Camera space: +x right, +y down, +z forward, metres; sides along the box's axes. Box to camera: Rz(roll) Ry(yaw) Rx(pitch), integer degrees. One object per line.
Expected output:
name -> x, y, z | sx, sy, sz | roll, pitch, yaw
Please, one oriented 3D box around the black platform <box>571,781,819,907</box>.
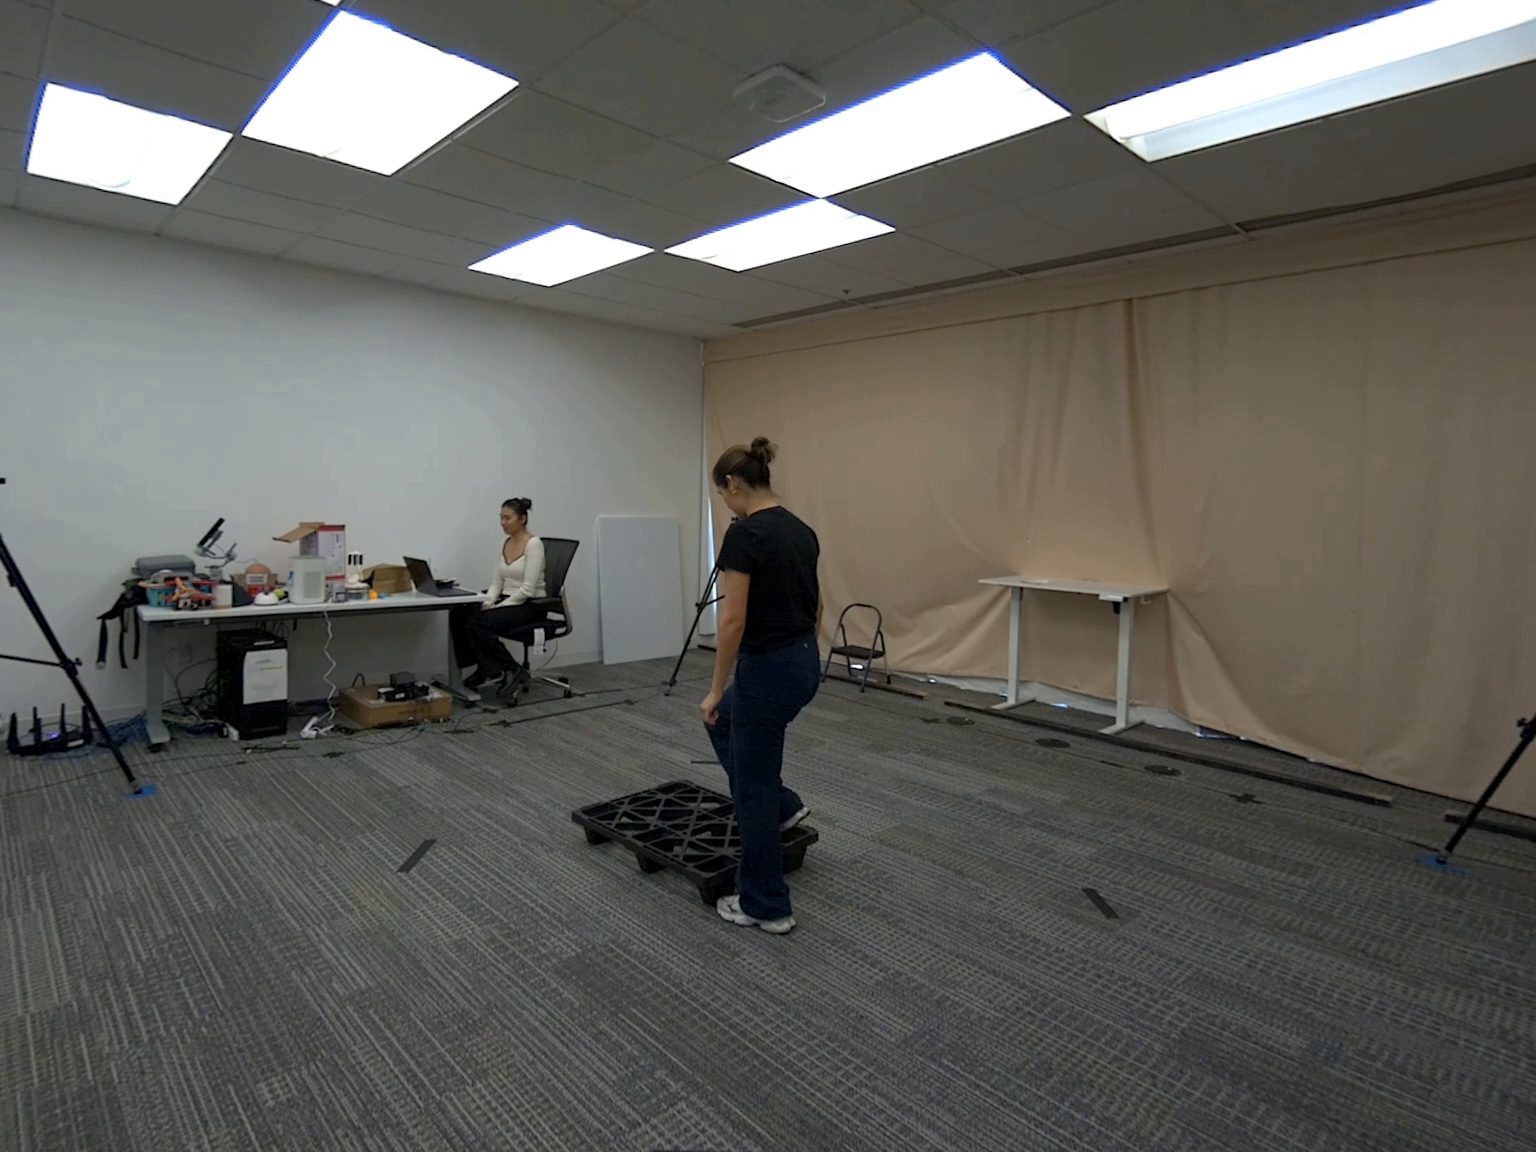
black platform -> -0.299, 1.023, 3.275 | 0.826, 0.143, 0.591 | 7, 7, 44
